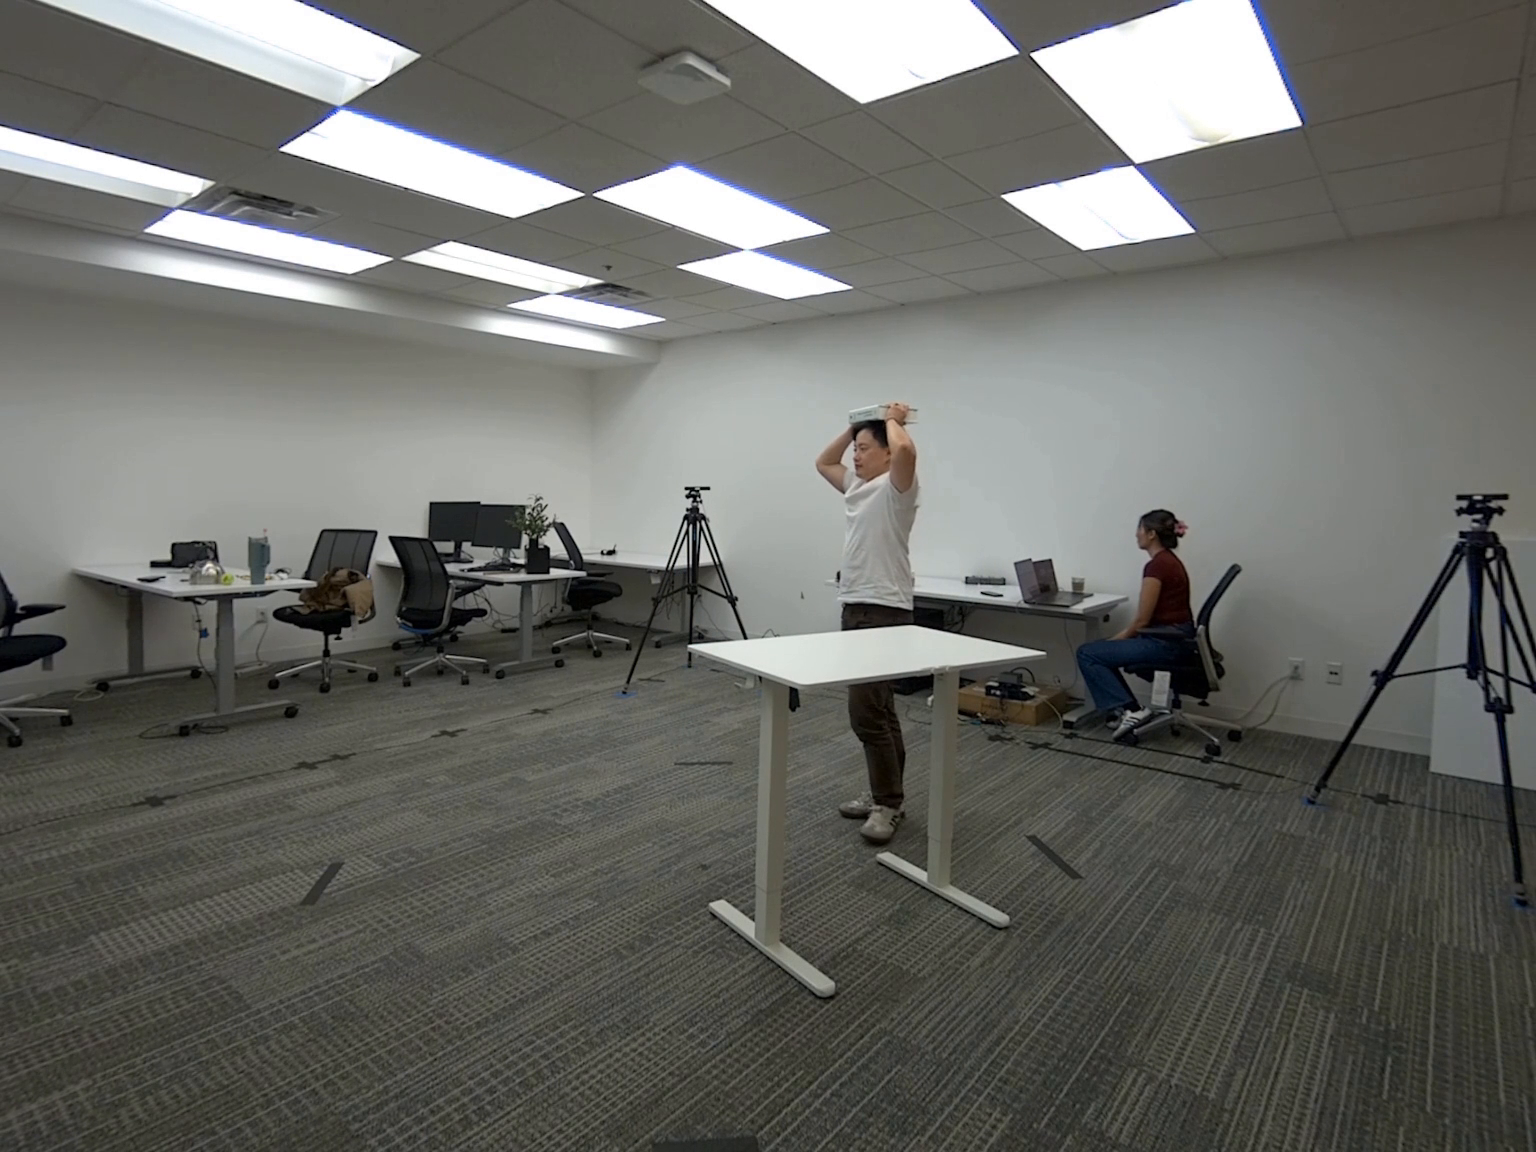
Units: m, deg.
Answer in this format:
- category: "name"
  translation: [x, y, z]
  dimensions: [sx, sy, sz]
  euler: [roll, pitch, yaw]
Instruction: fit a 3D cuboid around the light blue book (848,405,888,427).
- category: "light blue book"
  translation: [0.476, -0.685, 3.596]
  dimensions: [0.187, 0.059, 0.267]
  euler: [3, 3, -21]
